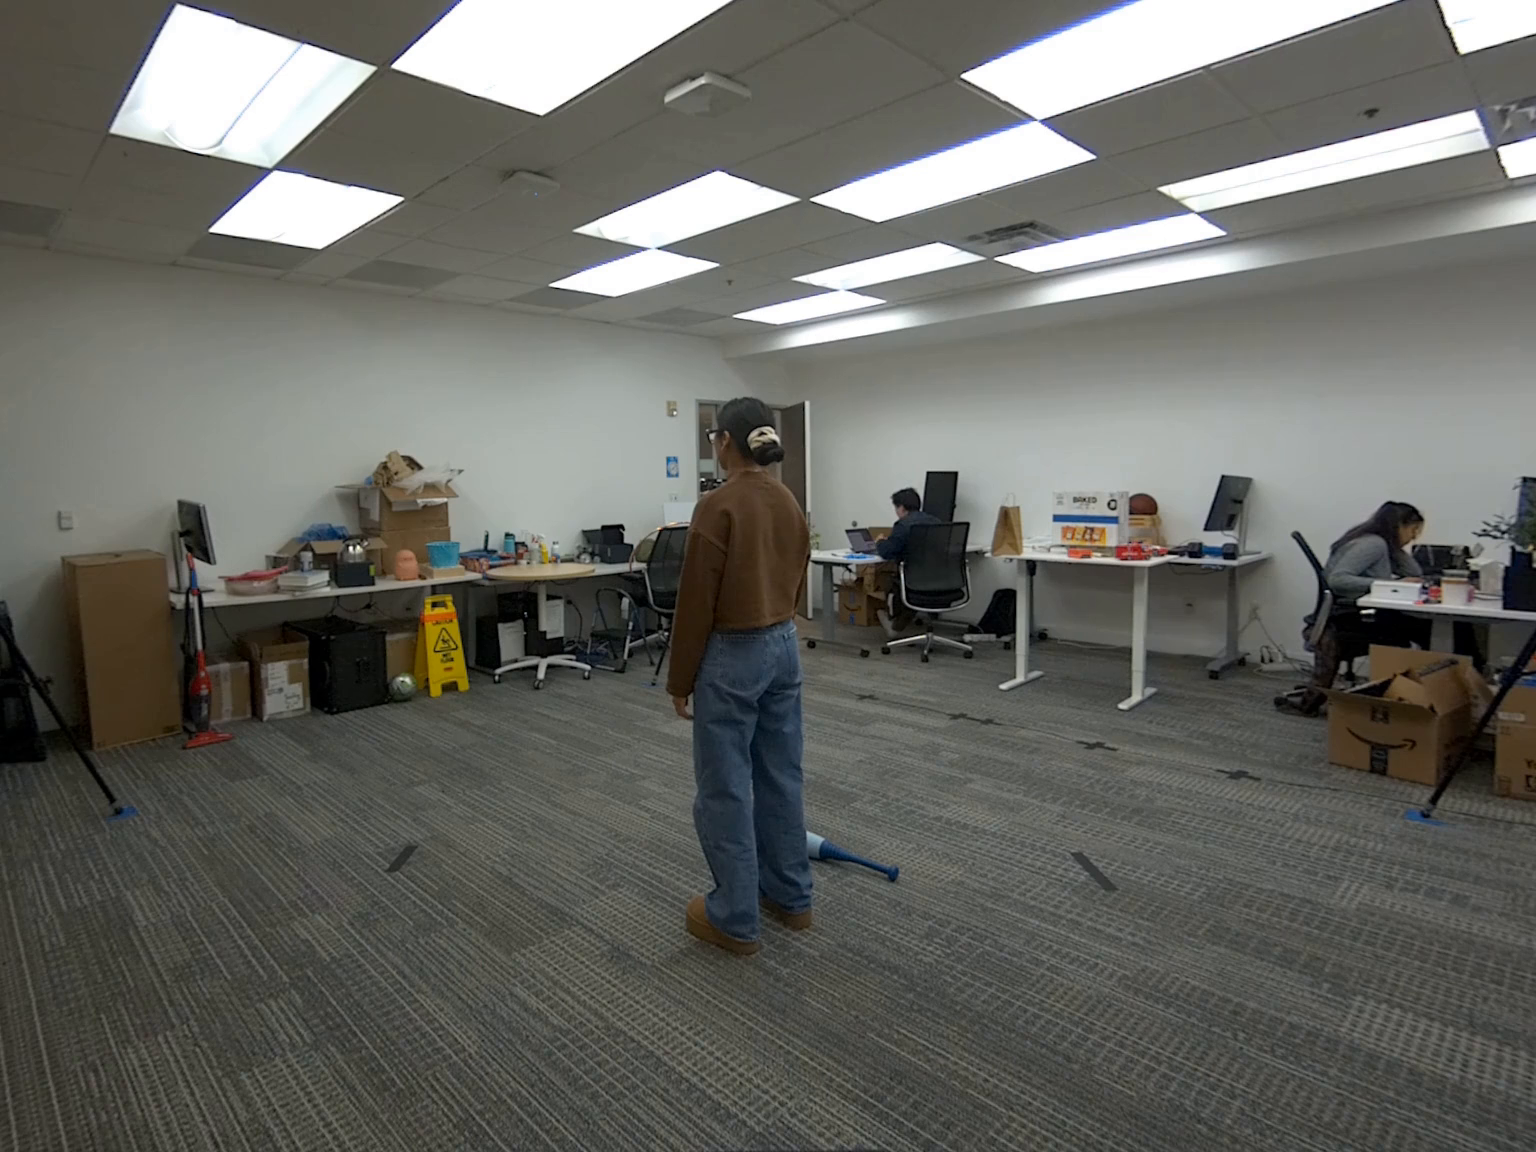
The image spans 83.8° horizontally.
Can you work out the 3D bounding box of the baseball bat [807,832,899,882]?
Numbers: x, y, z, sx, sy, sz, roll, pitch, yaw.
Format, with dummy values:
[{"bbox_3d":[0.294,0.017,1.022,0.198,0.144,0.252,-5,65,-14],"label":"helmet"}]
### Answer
[{"bbox_3d":[0.223,1.003,3.113,0.559,0.088,0.087,7,8,36],"label":"baseball bat"}]
